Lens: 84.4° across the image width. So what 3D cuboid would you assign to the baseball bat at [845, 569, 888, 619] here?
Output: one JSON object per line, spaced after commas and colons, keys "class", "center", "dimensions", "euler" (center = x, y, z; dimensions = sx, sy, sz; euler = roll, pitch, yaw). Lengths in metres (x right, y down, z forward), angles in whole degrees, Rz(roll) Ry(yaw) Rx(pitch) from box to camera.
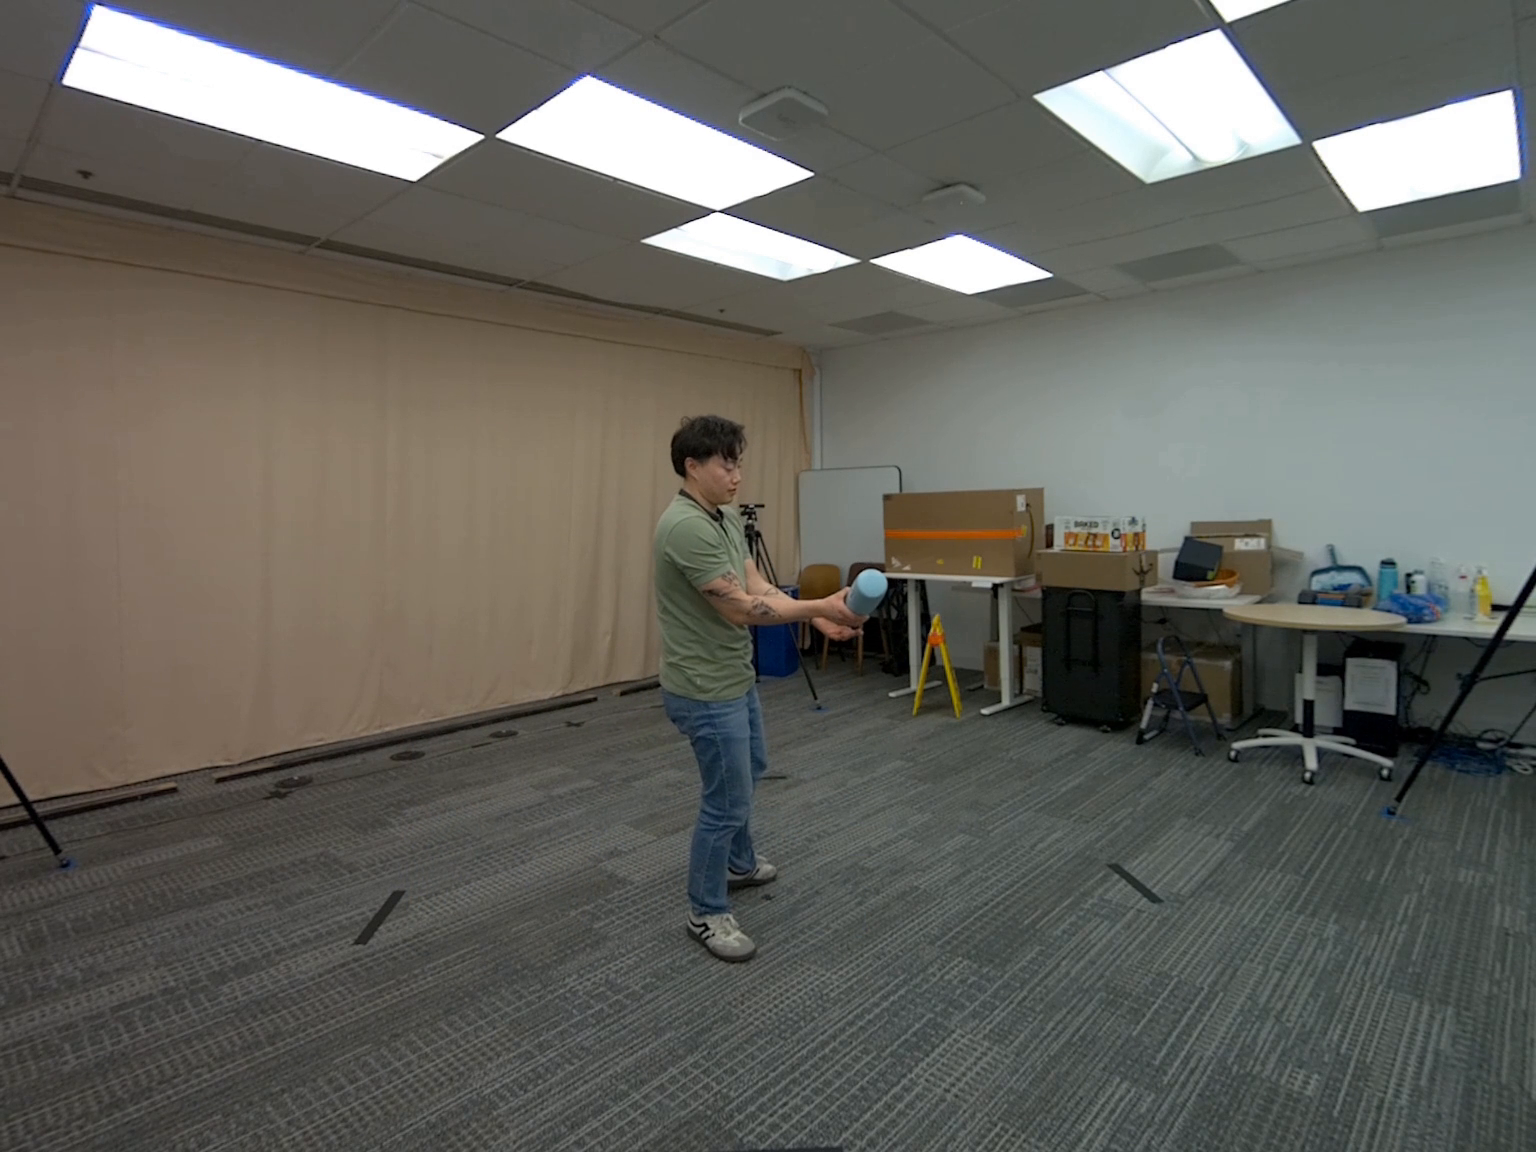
{"class": "baseball bat", "center": [0.267, 0.098, 2.472], "dimensions": [0.089, 0.090, 0.538], "euler": [0, -17, -4]}
